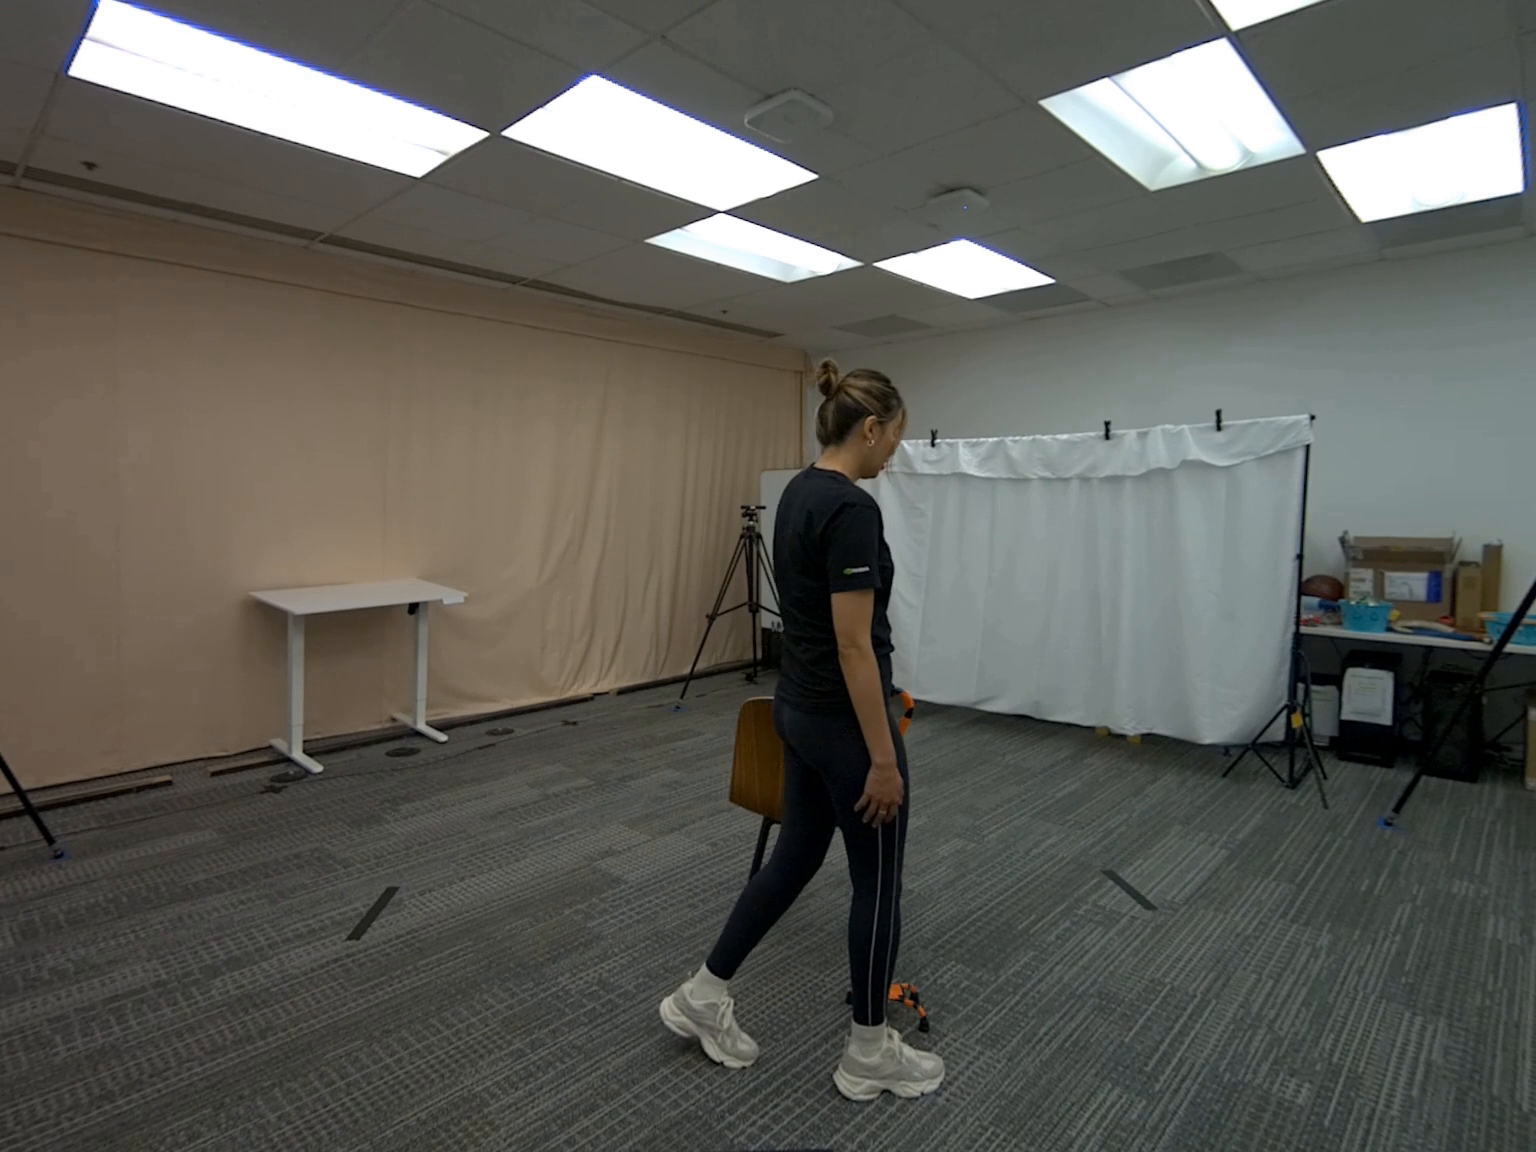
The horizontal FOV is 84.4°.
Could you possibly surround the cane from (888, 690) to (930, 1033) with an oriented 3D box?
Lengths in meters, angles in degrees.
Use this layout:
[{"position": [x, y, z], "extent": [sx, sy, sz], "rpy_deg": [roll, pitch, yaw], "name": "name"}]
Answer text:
[{"position": [0.333, 0.748, 2.273], "extent": [0.206, 0.906, 0.152], "rpy_deg": [0, 3, -2], "name": "cane"}]
